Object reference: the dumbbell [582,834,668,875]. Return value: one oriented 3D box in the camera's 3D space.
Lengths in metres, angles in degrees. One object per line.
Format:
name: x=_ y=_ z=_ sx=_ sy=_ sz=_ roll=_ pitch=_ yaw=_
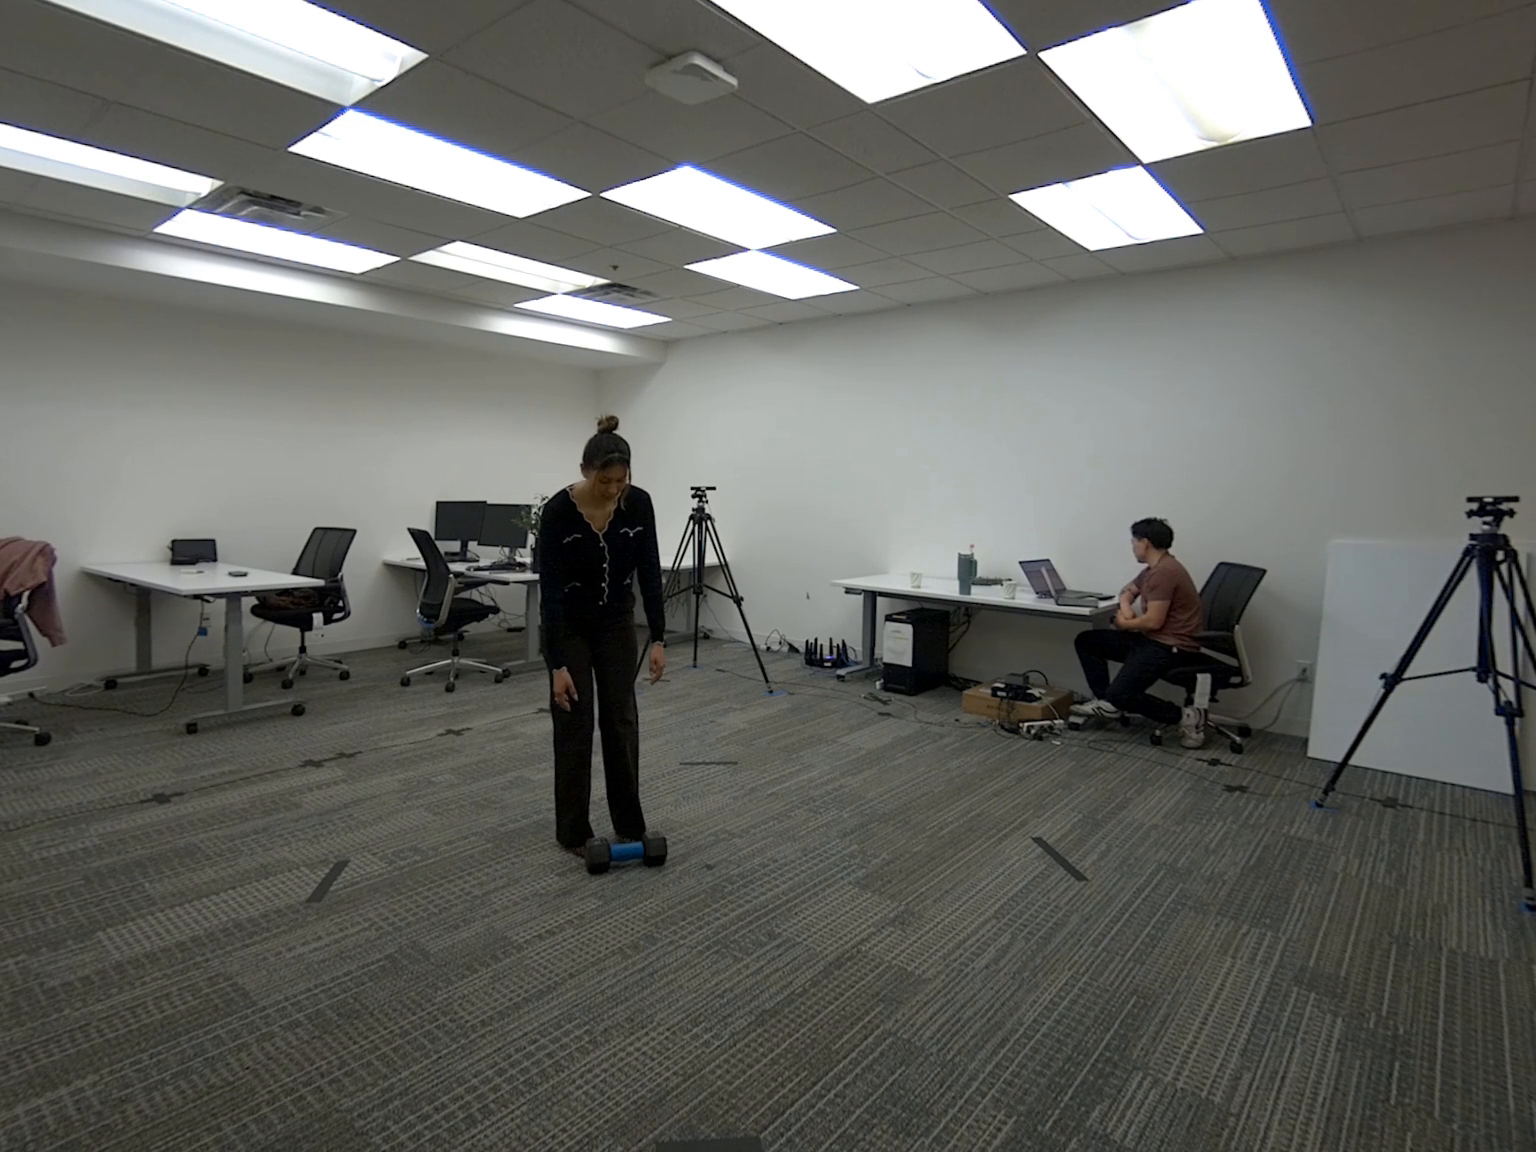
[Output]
dumbbell: x=-0.530 y=1.006 z=3.109 sx=0.288 sy=0.120 sz=0.113 roll=-1 pitch=35 yaw=-18
